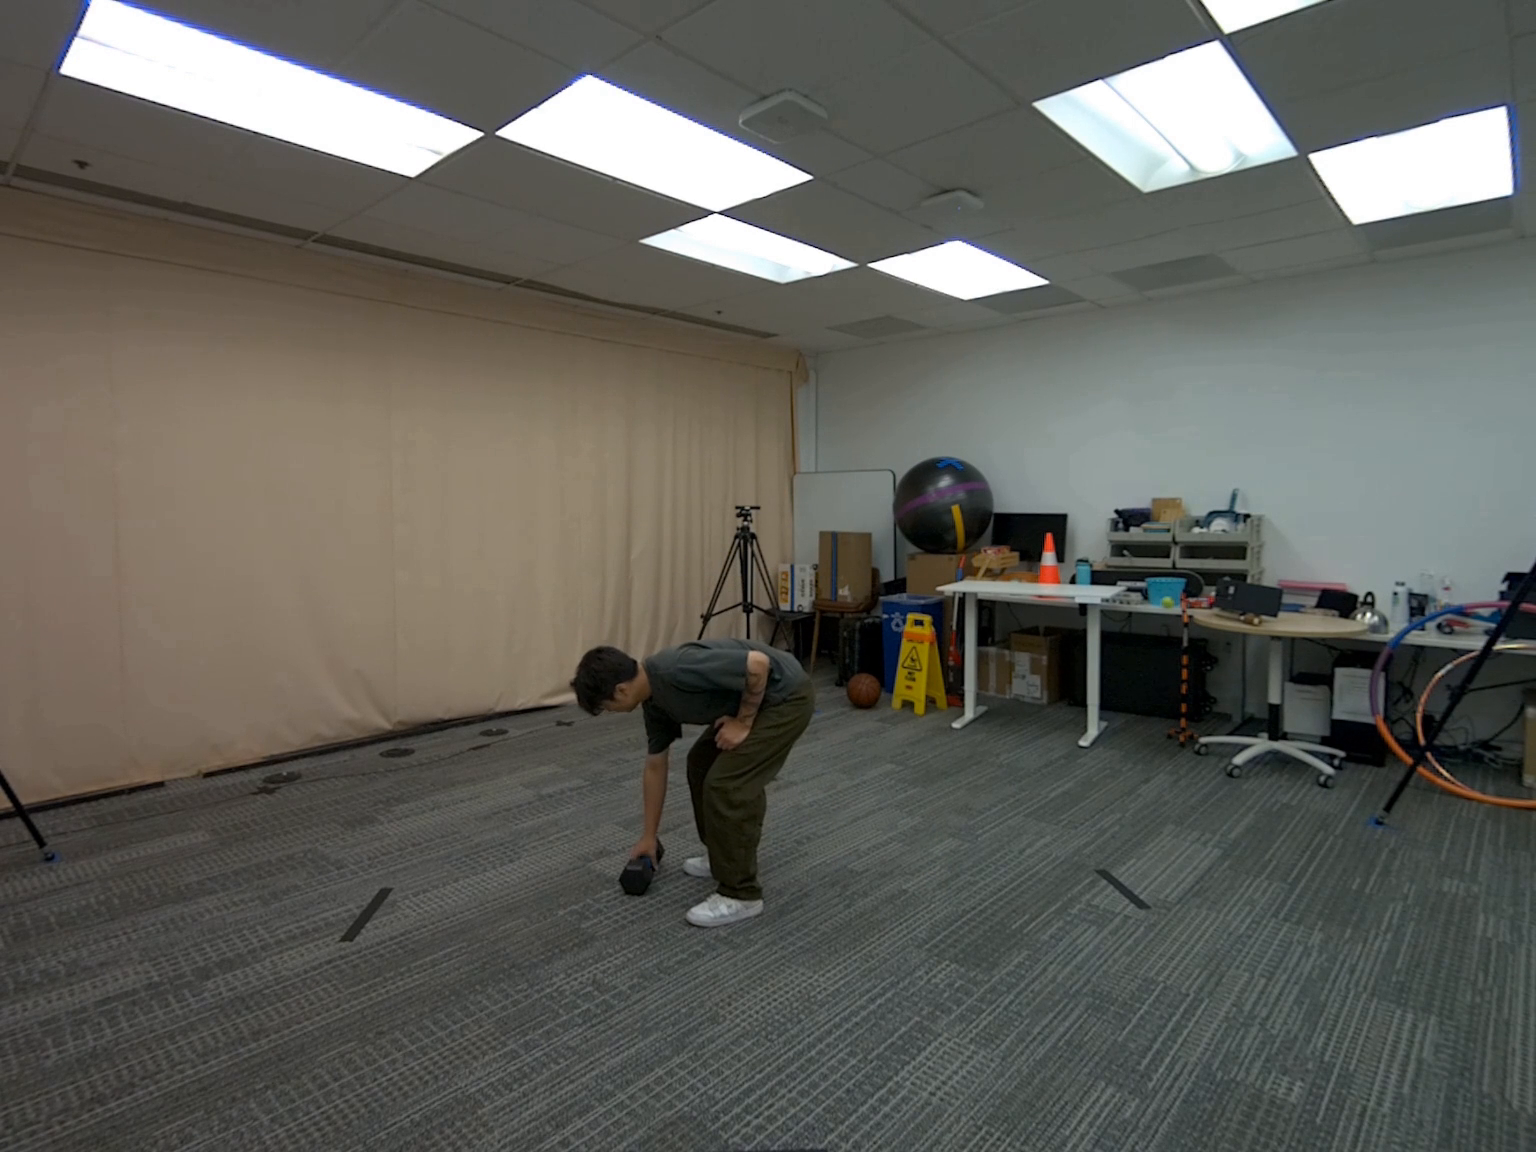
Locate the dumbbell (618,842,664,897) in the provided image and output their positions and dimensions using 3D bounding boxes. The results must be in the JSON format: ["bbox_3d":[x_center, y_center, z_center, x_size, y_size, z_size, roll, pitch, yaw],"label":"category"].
[{"bbox_3d":[-0.468,1.080,3.146,0.109,0.123,0.293,-30,3,5],"label":"dumbbell"}]
